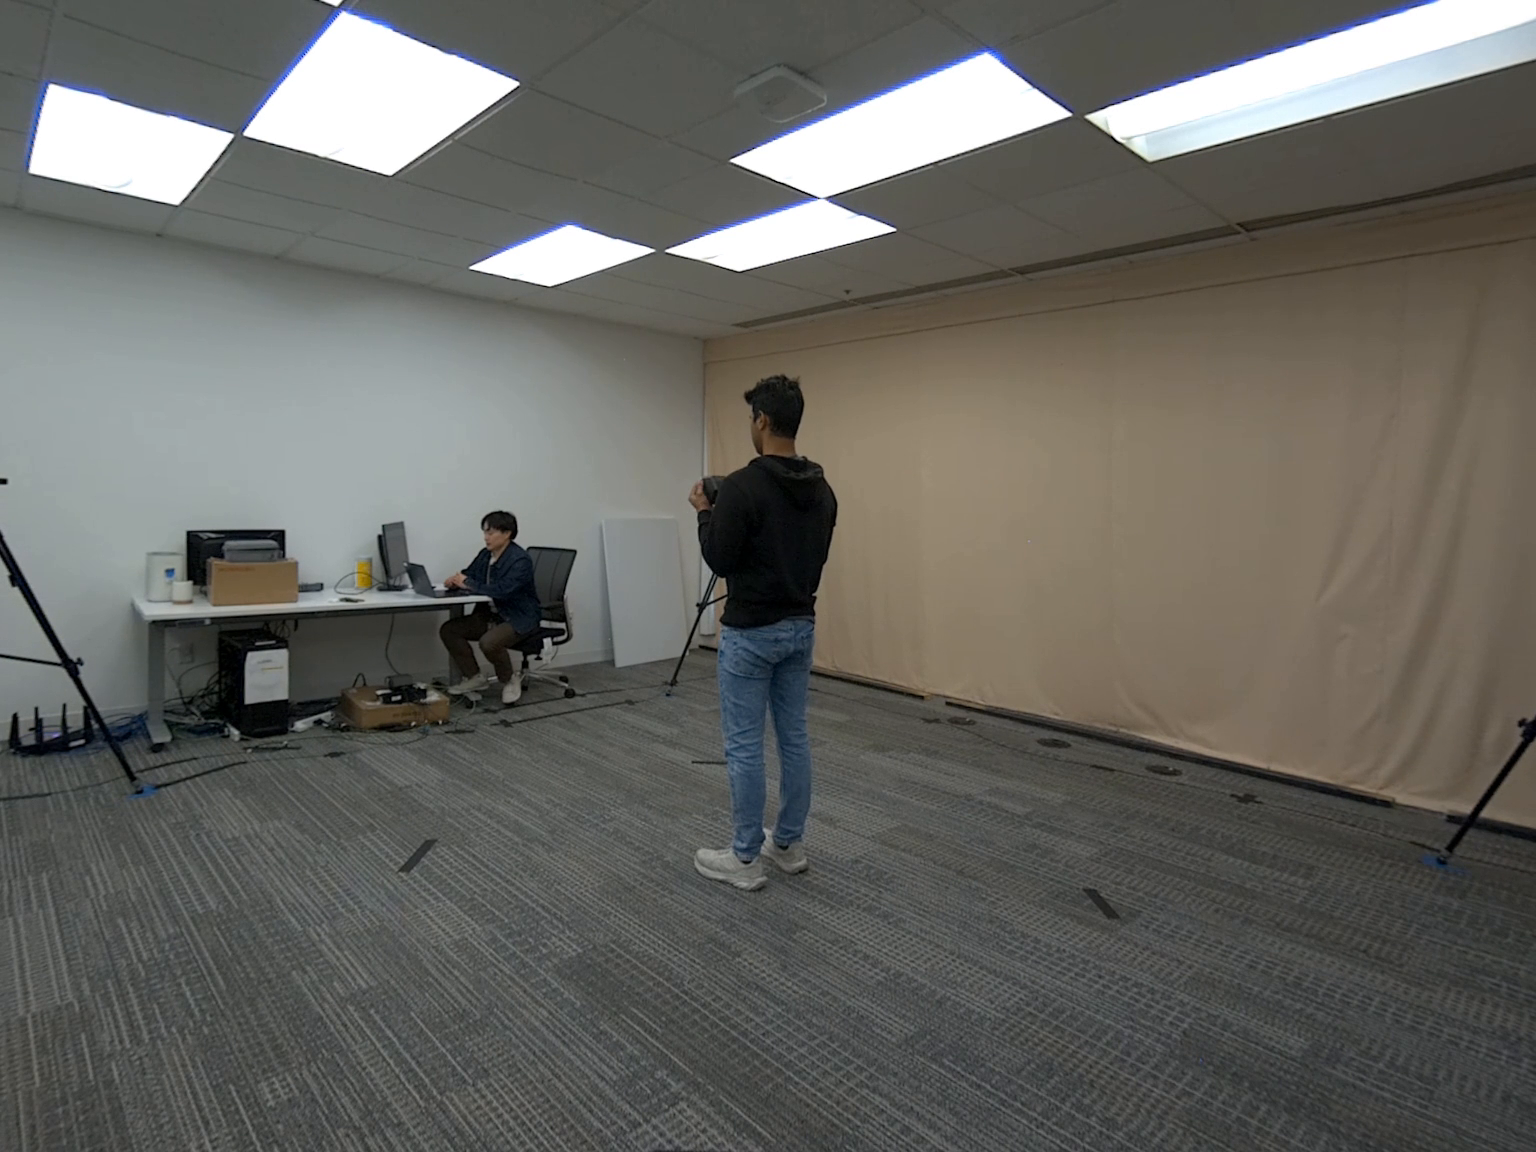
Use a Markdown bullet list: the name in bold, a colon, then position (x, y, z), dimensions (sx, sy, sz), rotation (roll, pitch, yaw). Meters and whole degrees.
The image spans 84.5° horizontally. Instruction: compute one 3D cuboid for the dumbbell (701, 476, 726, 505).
- **dumbbell**: position (-0.114, -0.315, 3.207), dimensions (0.287, 0.108, 0.126), rotation (-3, 5, -43)
